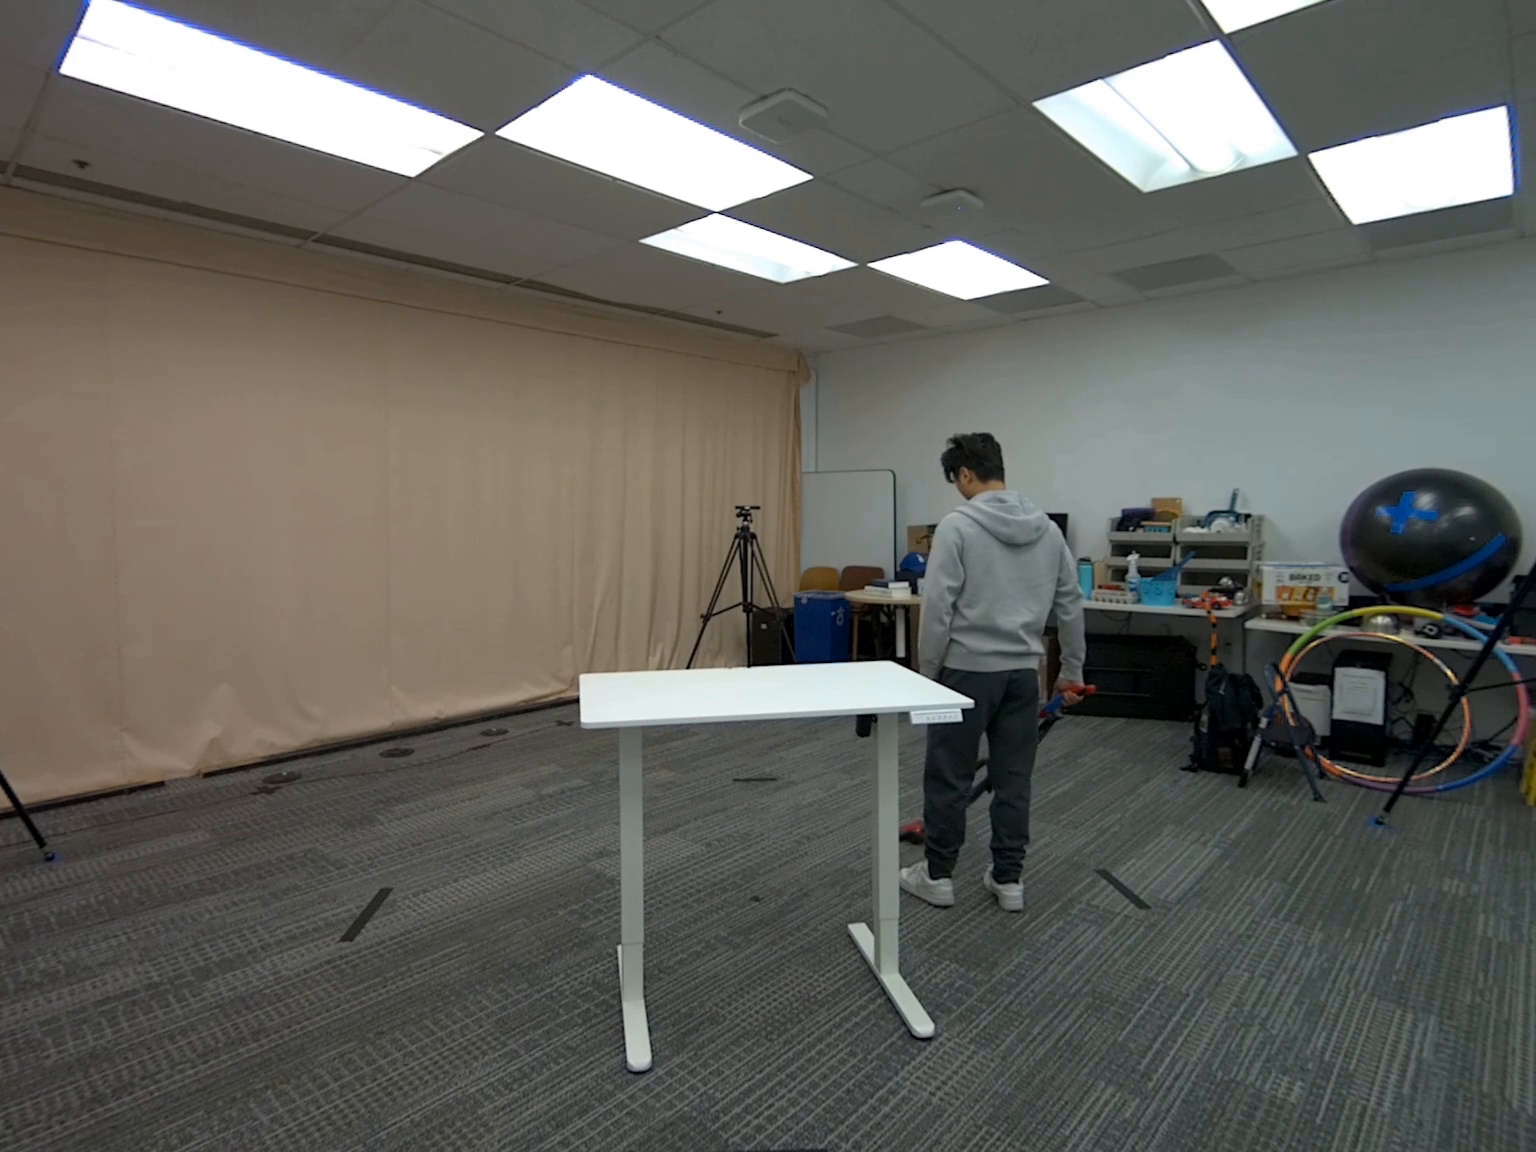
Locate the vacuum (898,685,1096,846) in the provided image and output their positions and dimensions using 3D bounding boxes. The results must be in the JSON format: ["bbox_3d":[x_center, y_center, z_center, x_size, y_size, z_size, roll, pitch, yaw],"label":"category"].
[{"bbox_3d":[0.861,0.749,3.260,0.244,0.148,1.053,1,-40,-41],"label":"vacuum"}]
